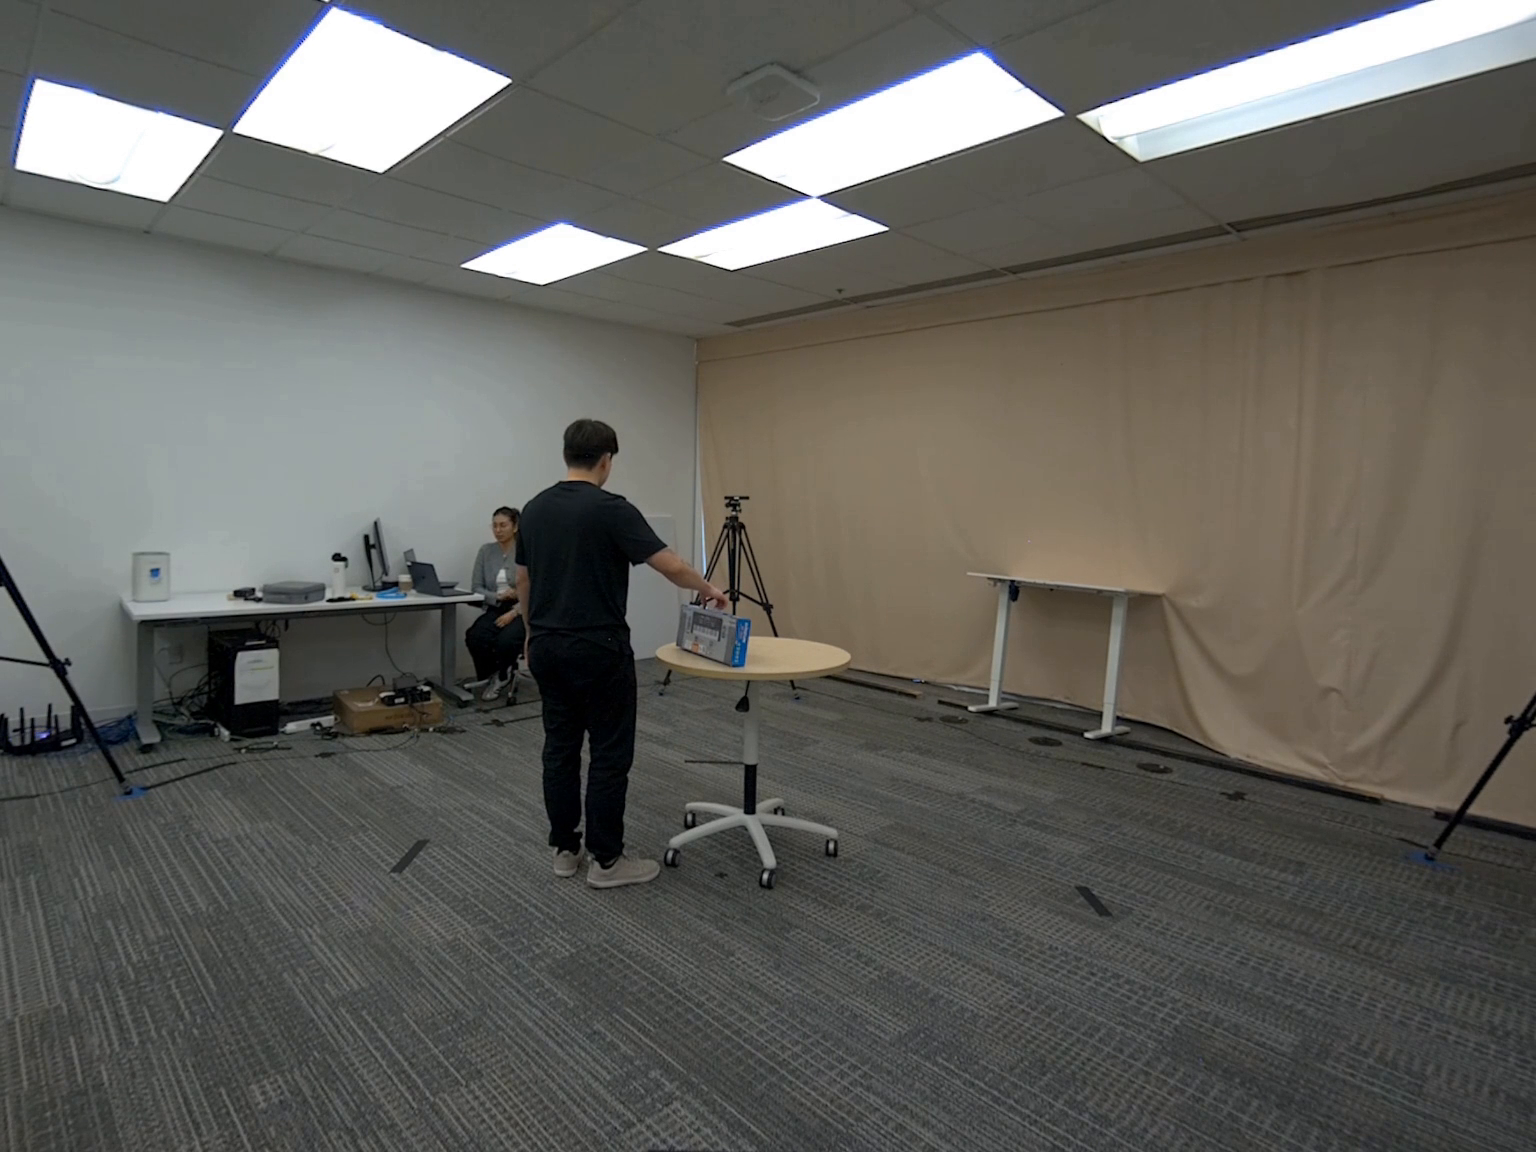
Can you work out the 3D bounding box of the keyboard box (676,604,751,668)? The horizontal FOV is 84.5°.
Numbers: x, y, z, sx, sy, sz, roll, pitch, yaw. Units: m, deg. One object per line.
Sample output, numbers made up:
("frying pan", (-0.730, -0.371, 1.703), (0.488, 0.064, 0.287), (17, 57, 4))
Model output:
("keyboard box", (-0.224, 0.222, 3.214), (0.058, 0.176, 0.447), (7, 1, -33))
